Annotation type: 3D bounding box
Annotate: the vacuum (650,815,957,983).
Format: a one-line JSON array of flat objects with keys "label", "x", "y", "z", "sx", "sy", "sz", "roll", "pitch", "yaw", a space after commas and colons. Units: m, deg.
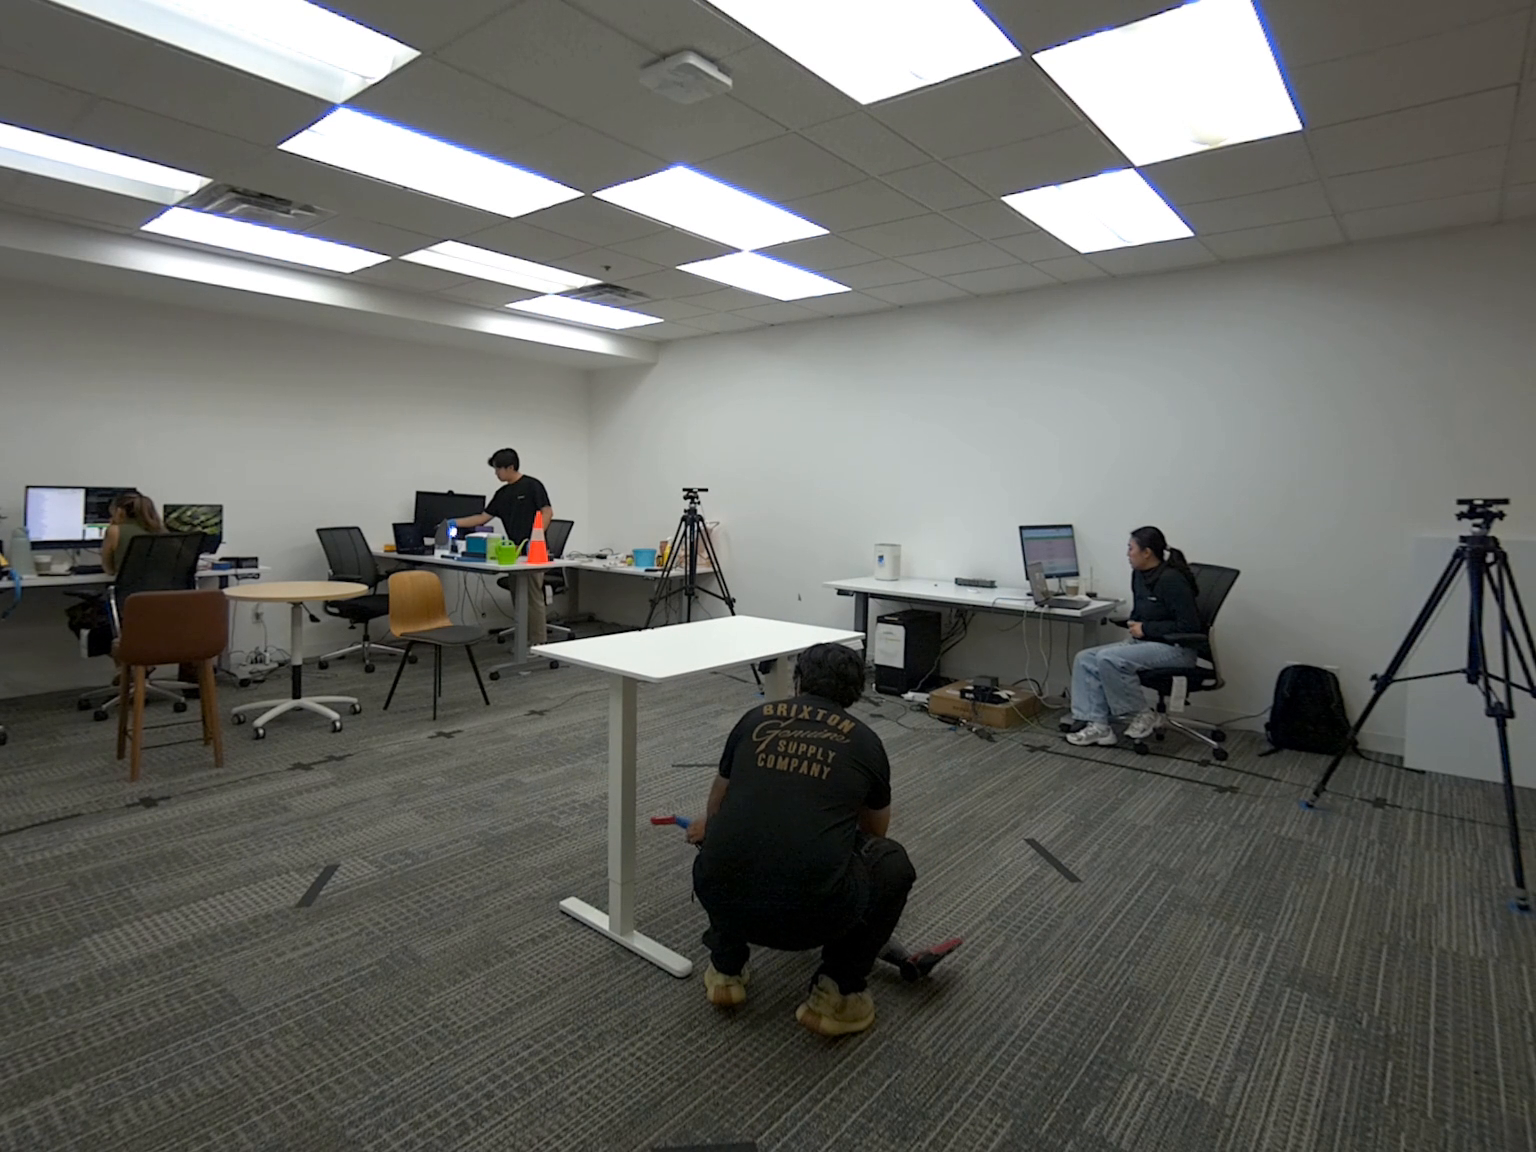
[{"label": "vacuum", "x": 0.020, "y": 0.976, "z": 2.705, "sx": 1.086, "sy": 0.144, "sz": 0.243, "roll": 12, "pitch": -5, "yaw": 35}]
